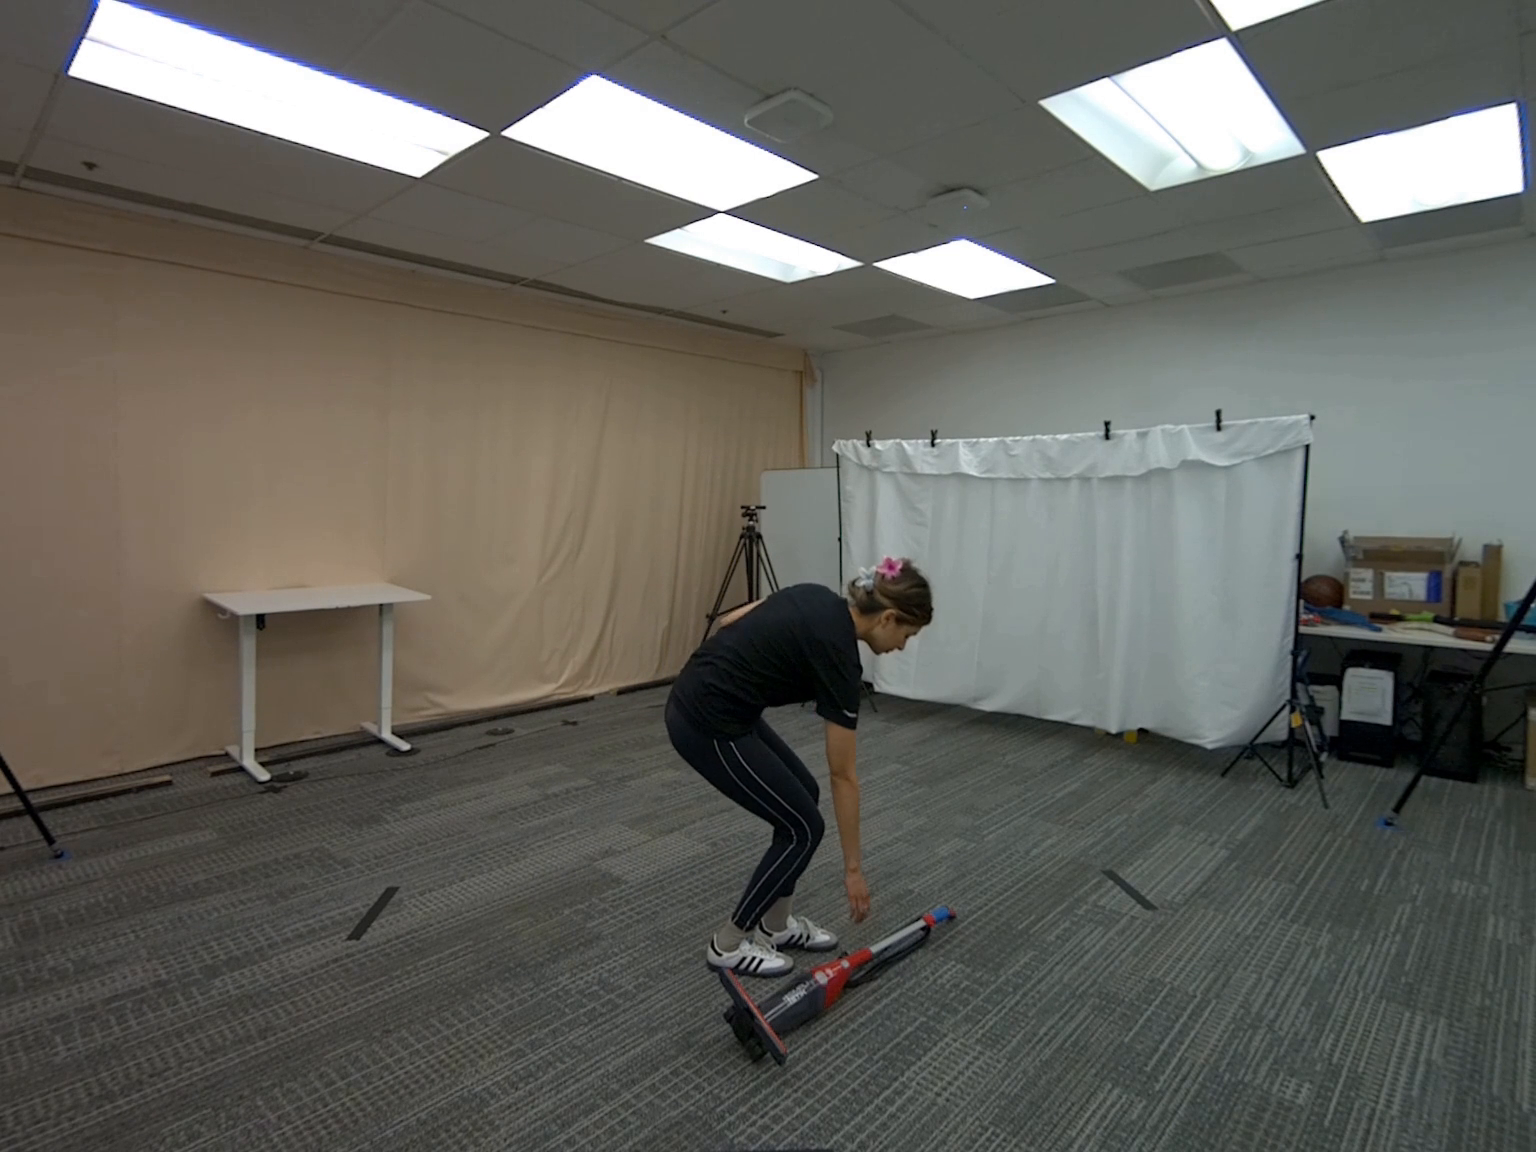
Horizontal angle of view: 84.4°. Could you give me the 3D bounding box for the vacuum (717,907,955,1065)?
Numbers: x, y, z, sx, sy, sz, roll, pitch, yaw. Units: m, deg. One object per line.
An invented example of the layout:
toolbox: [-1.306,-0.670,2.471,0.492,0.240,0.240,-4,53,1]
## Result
vacuum: [0.290,1.140,2.473,1.015,0.144,0.261,4,29,-47]
